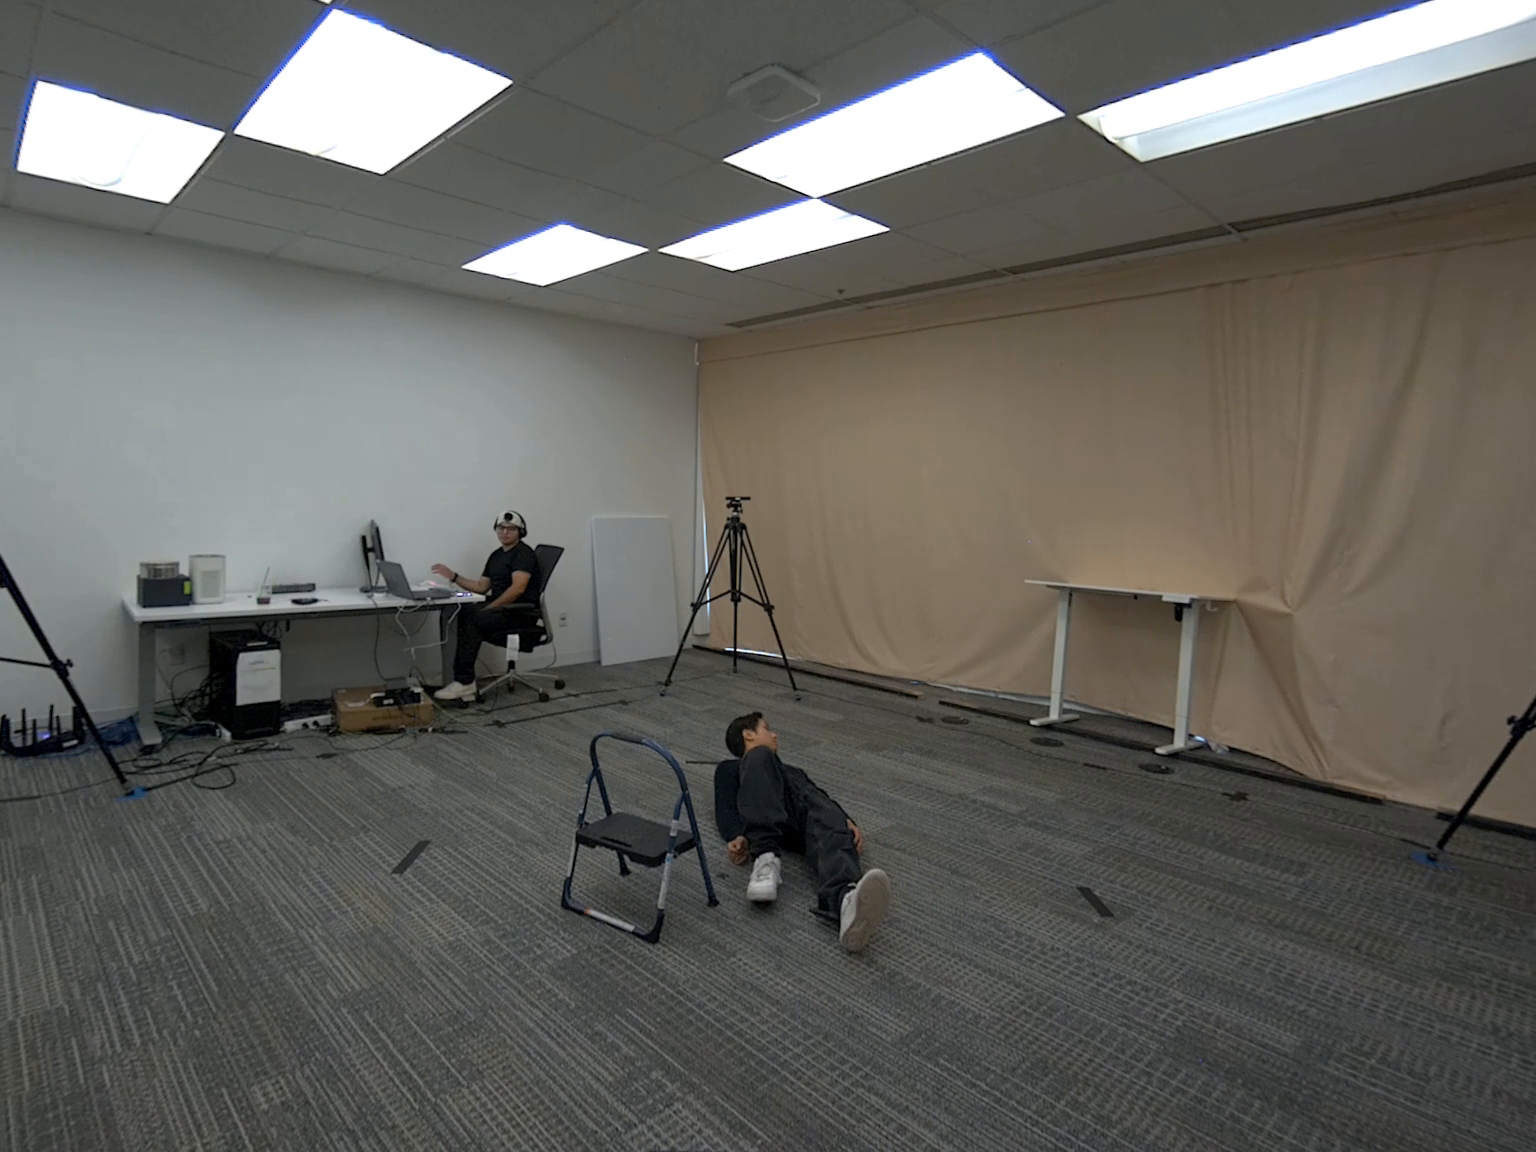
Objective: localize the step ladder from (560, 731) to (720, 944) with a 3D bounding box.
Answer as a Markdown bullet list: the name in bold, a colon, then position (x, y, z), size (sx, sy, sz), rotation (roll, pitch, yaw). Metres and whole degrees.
- **step ladder**: position (-0.437, 0.819, 2.848), size (0.440, 0.605, 0.342), rotation (4, 4, 32)
